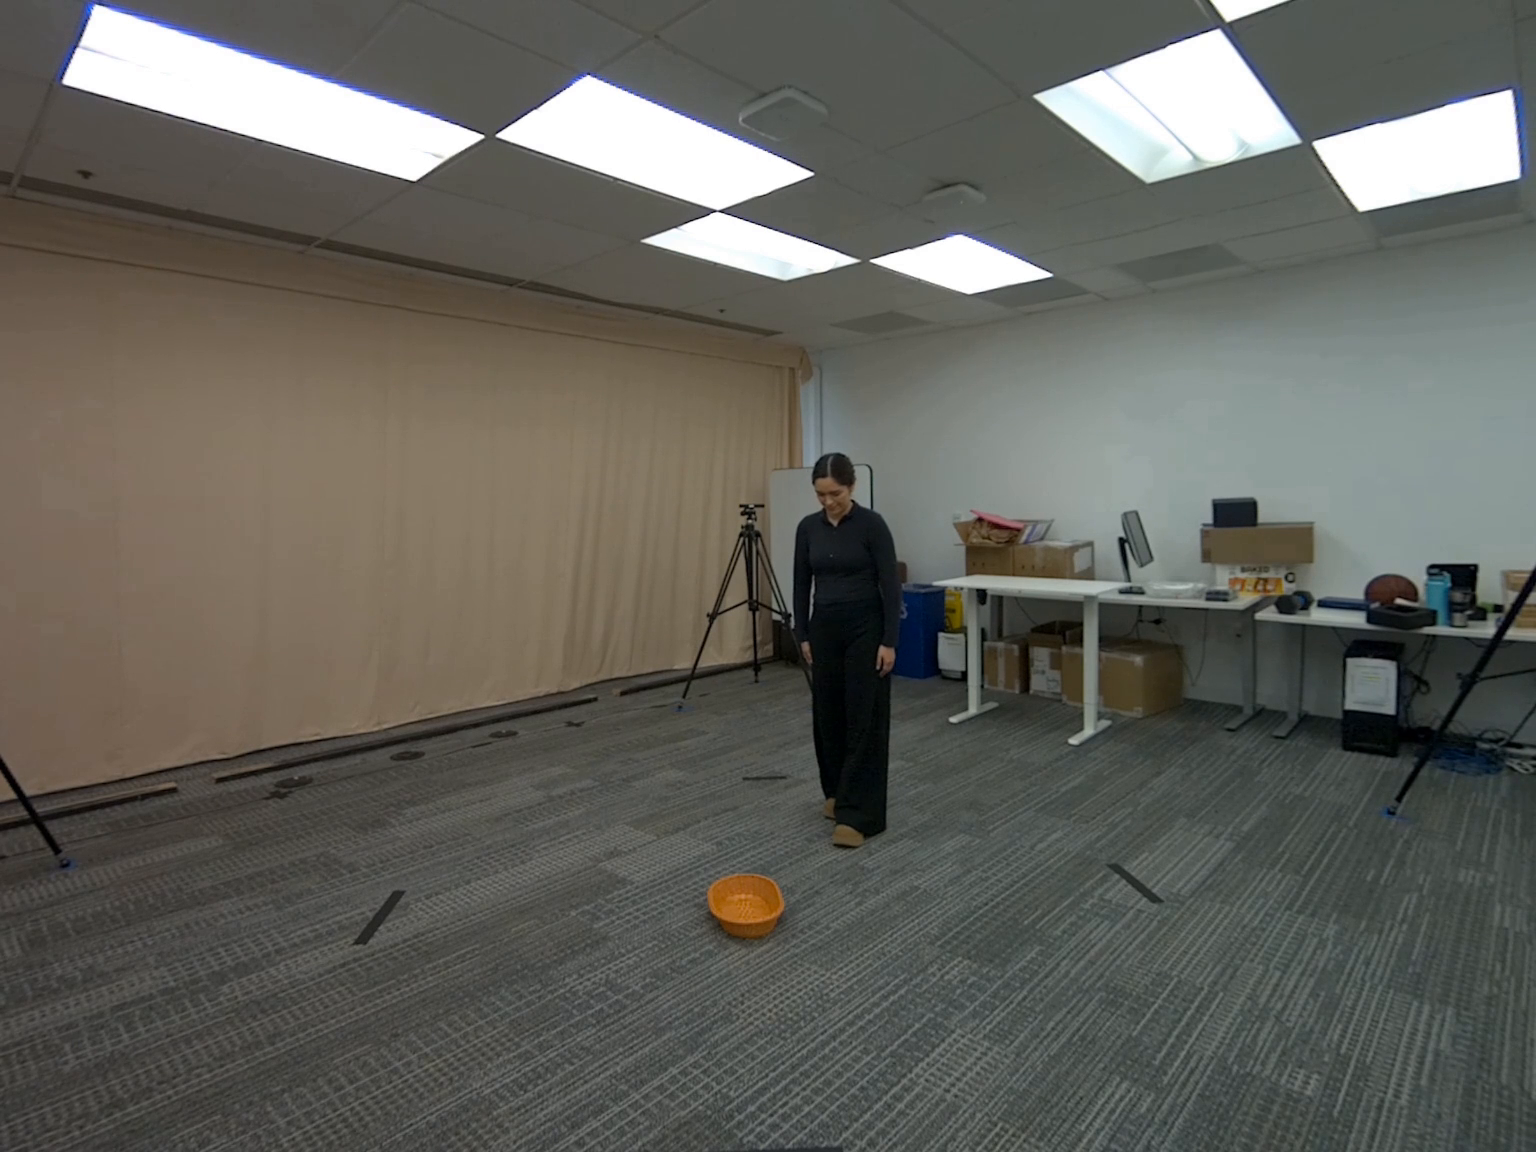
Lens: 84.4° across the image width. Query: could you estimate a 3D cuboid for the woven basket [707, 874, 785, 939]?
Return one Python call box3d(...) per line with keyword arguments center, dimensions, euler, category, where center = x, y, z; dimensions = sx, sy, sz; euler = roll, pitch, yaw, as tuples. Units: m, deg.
box3d(center=(-0.076, 1.113, 2.841), dimensions=(0.250, 0.073, 0.354), euler=(-3, 5, -8), category="woven basket")
